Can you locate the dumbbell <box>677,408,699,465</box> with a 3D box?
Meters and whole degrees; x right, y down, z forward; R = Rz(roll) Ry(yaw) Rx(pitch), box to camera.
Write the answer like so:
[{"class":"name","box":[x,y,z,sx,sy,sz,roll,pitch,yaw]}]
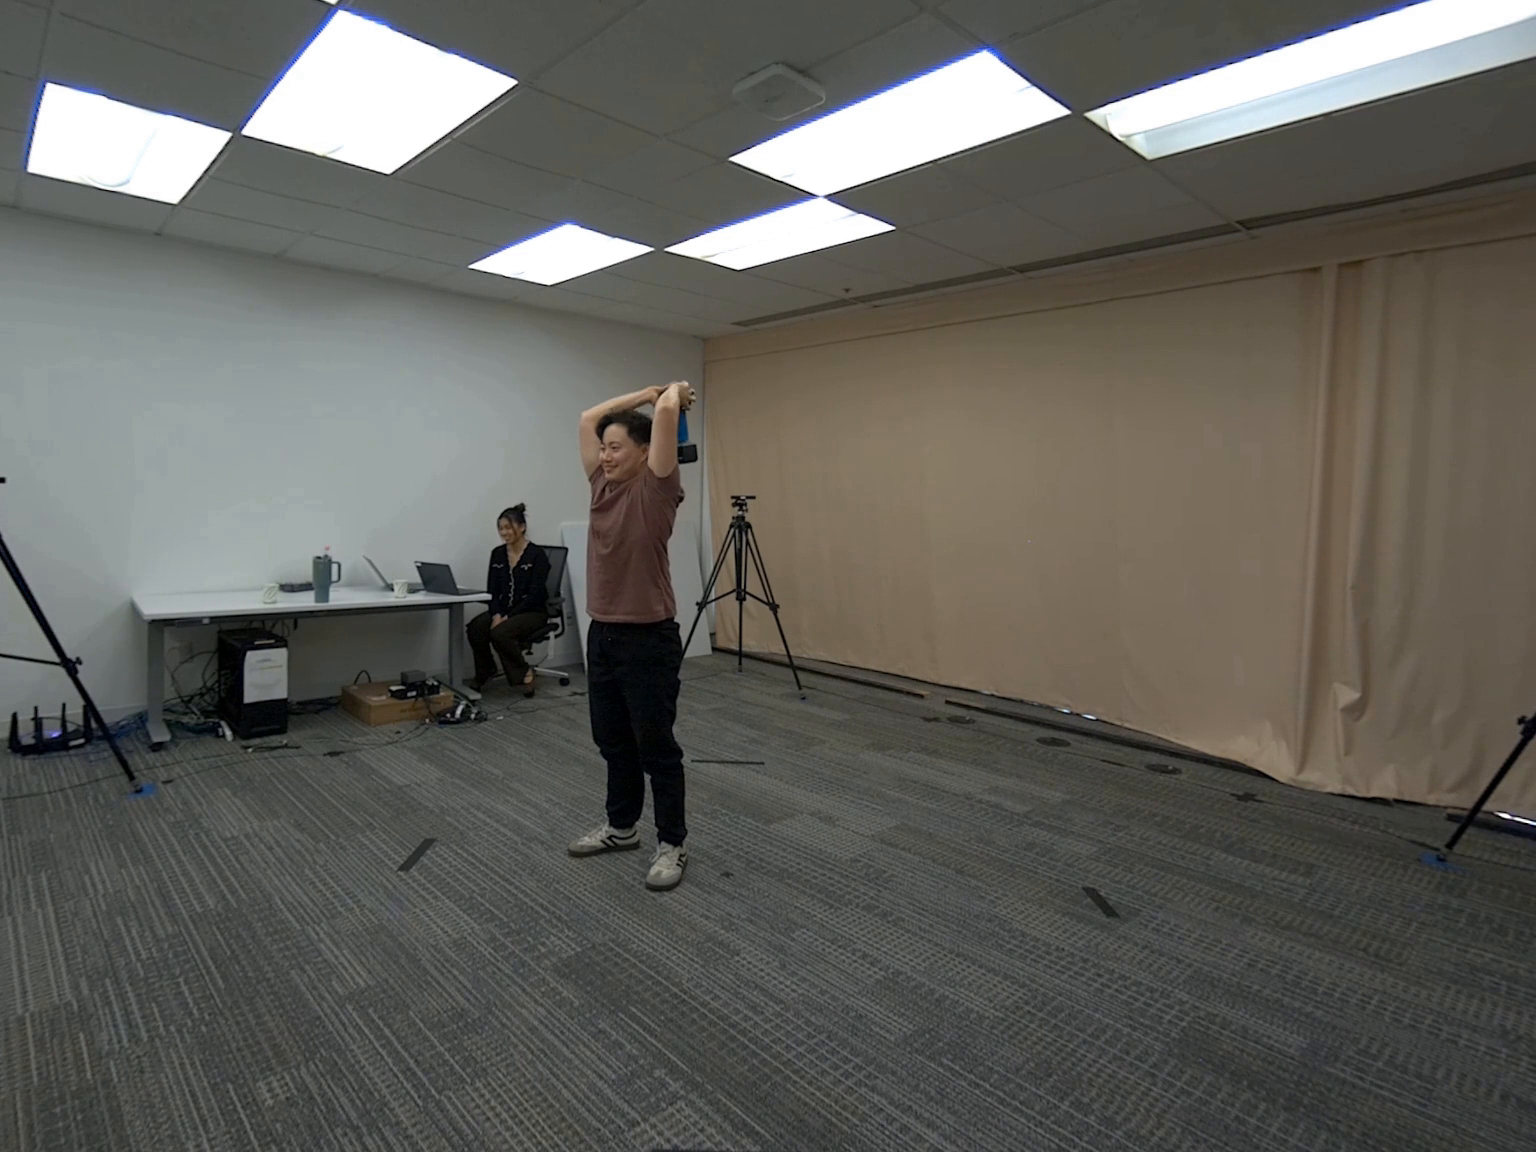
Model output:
[{"class":"dumbbell","box":[-0.349,-0.578,3.211,0.121,0.291,0.111,-13,13,-30]}]
